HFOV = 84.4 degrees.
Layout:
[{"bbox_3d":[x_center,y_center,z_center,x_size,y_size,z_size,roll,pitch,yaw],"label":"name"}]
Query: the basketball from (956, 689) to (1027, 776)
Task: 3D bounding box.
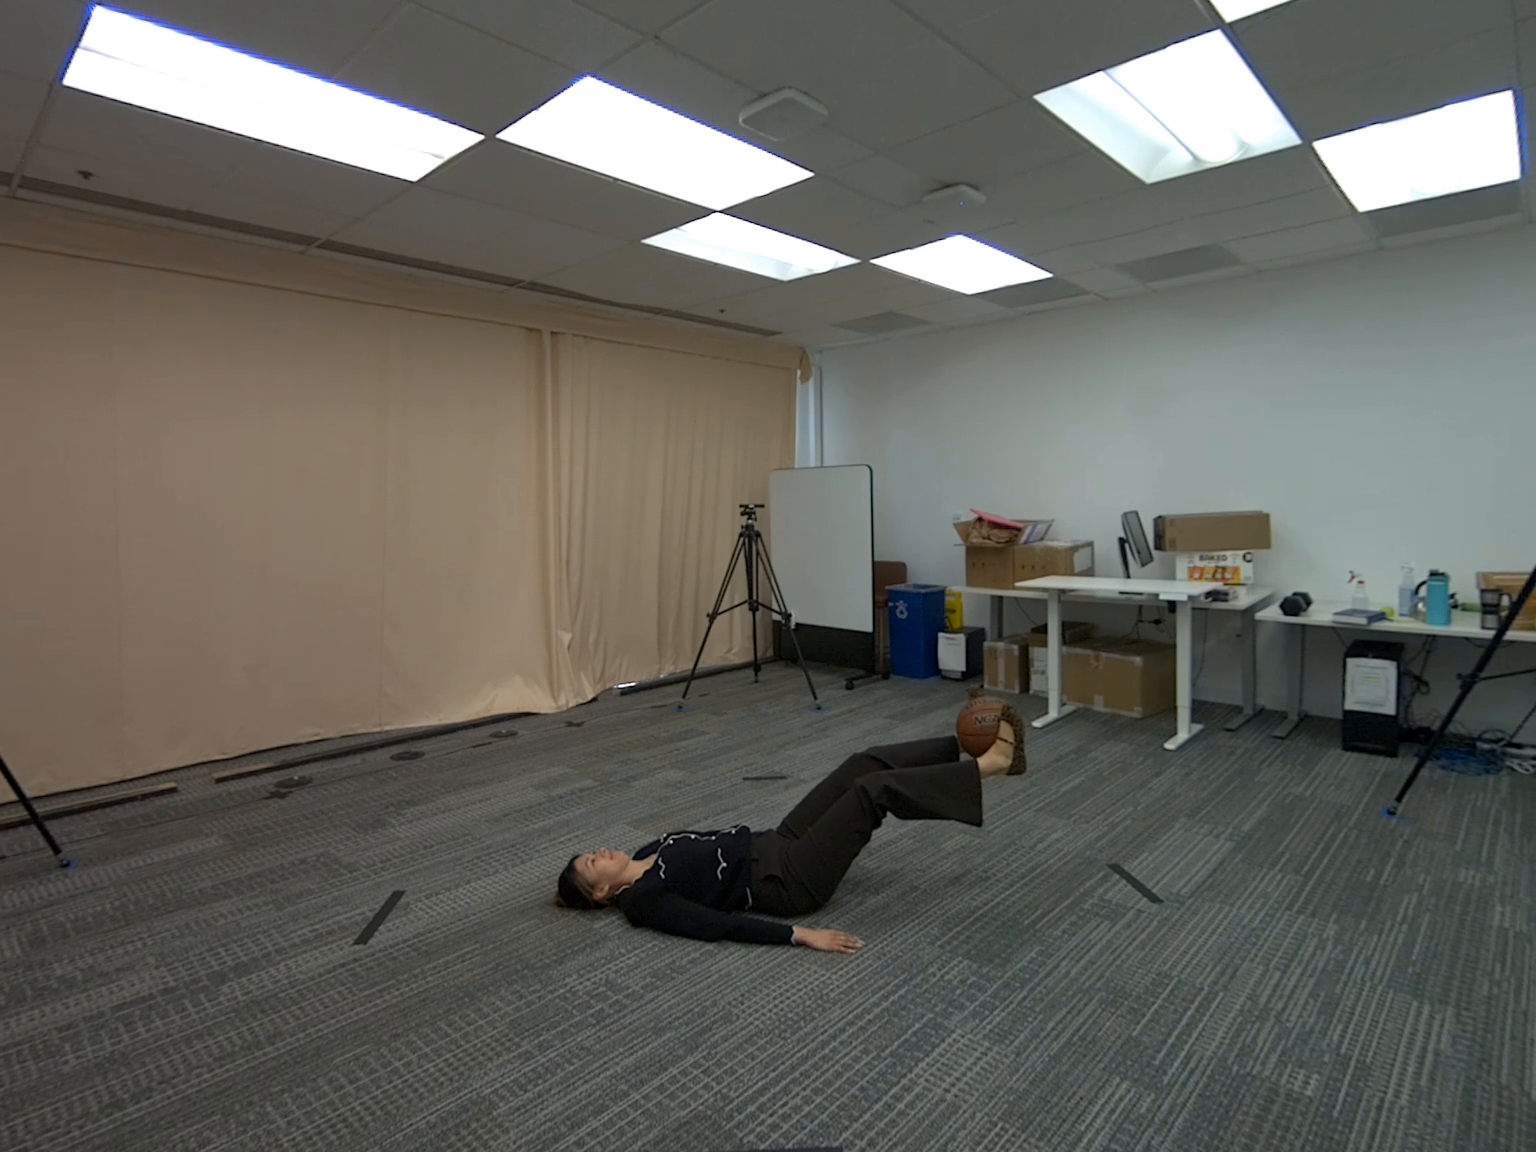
[{"bbox_3d":[0.801,0.545,3.017,0.236,0.236,0.236,0,1,-2],"label":"basketball"}]
